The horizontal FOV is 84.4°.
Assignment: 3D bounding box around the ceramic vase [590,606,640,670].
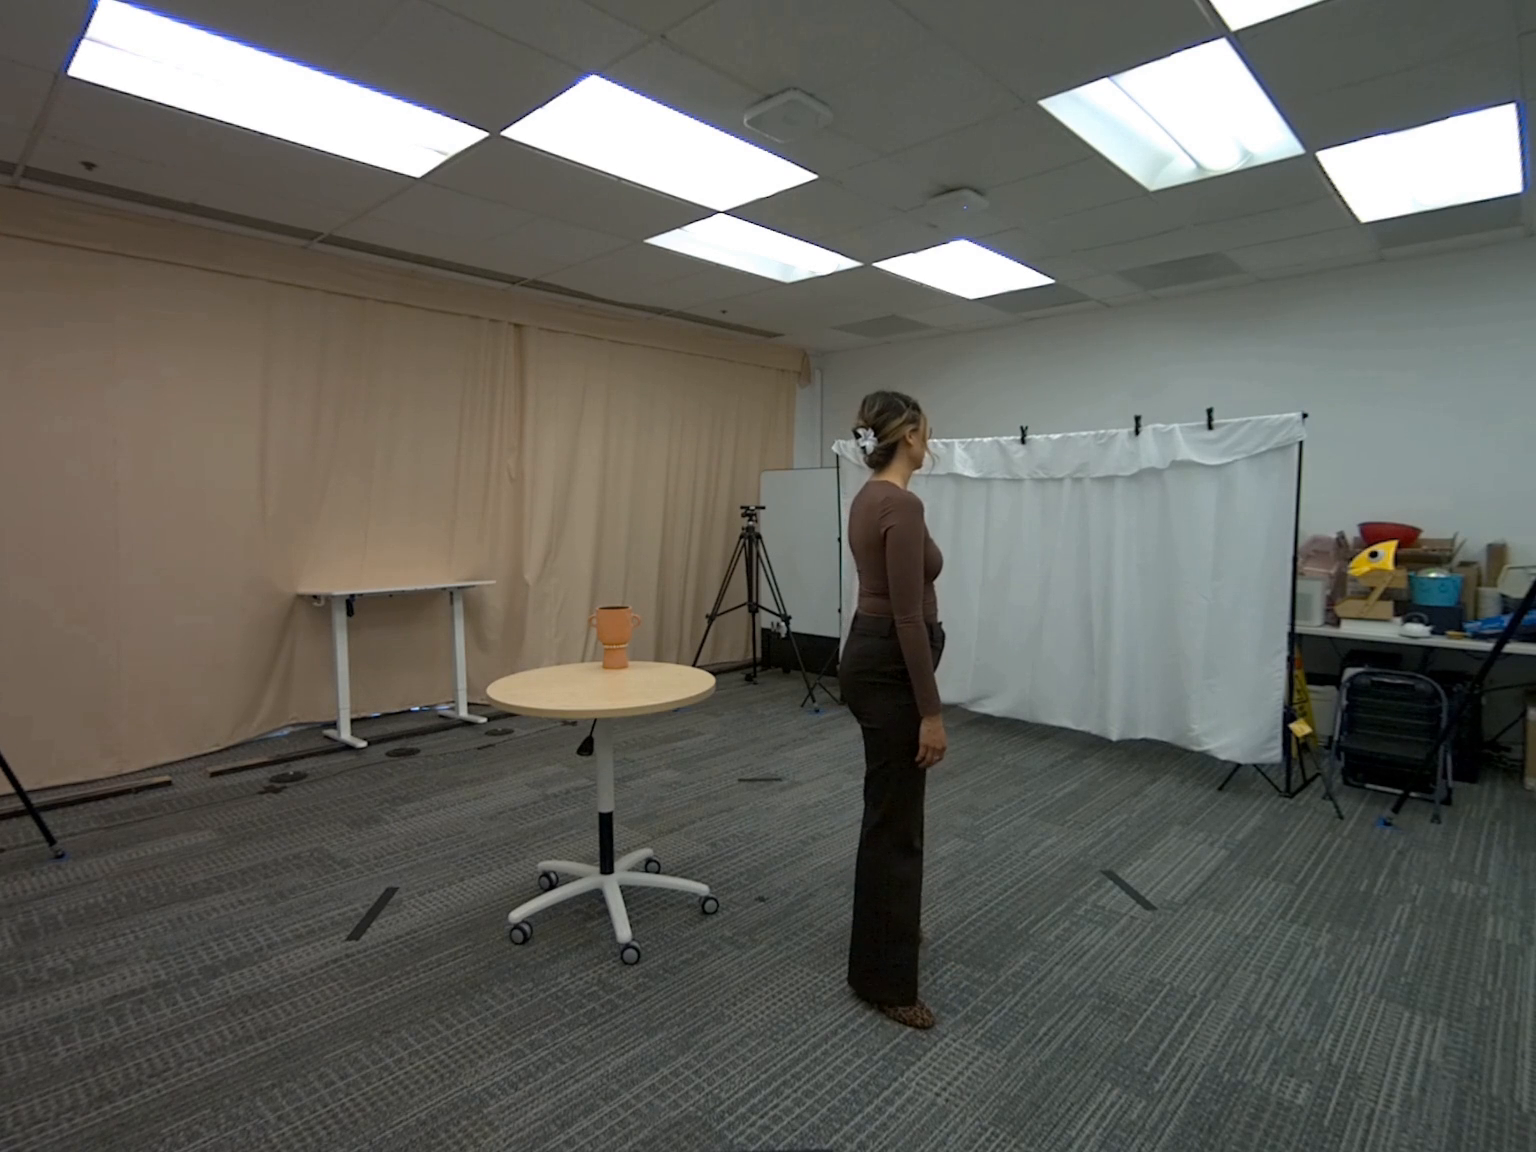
[{"bbox_3d":[-0.566,0.227,3.123,0.164,0.219,0.130,3,5,40],"label":"ceramic vase"}]
